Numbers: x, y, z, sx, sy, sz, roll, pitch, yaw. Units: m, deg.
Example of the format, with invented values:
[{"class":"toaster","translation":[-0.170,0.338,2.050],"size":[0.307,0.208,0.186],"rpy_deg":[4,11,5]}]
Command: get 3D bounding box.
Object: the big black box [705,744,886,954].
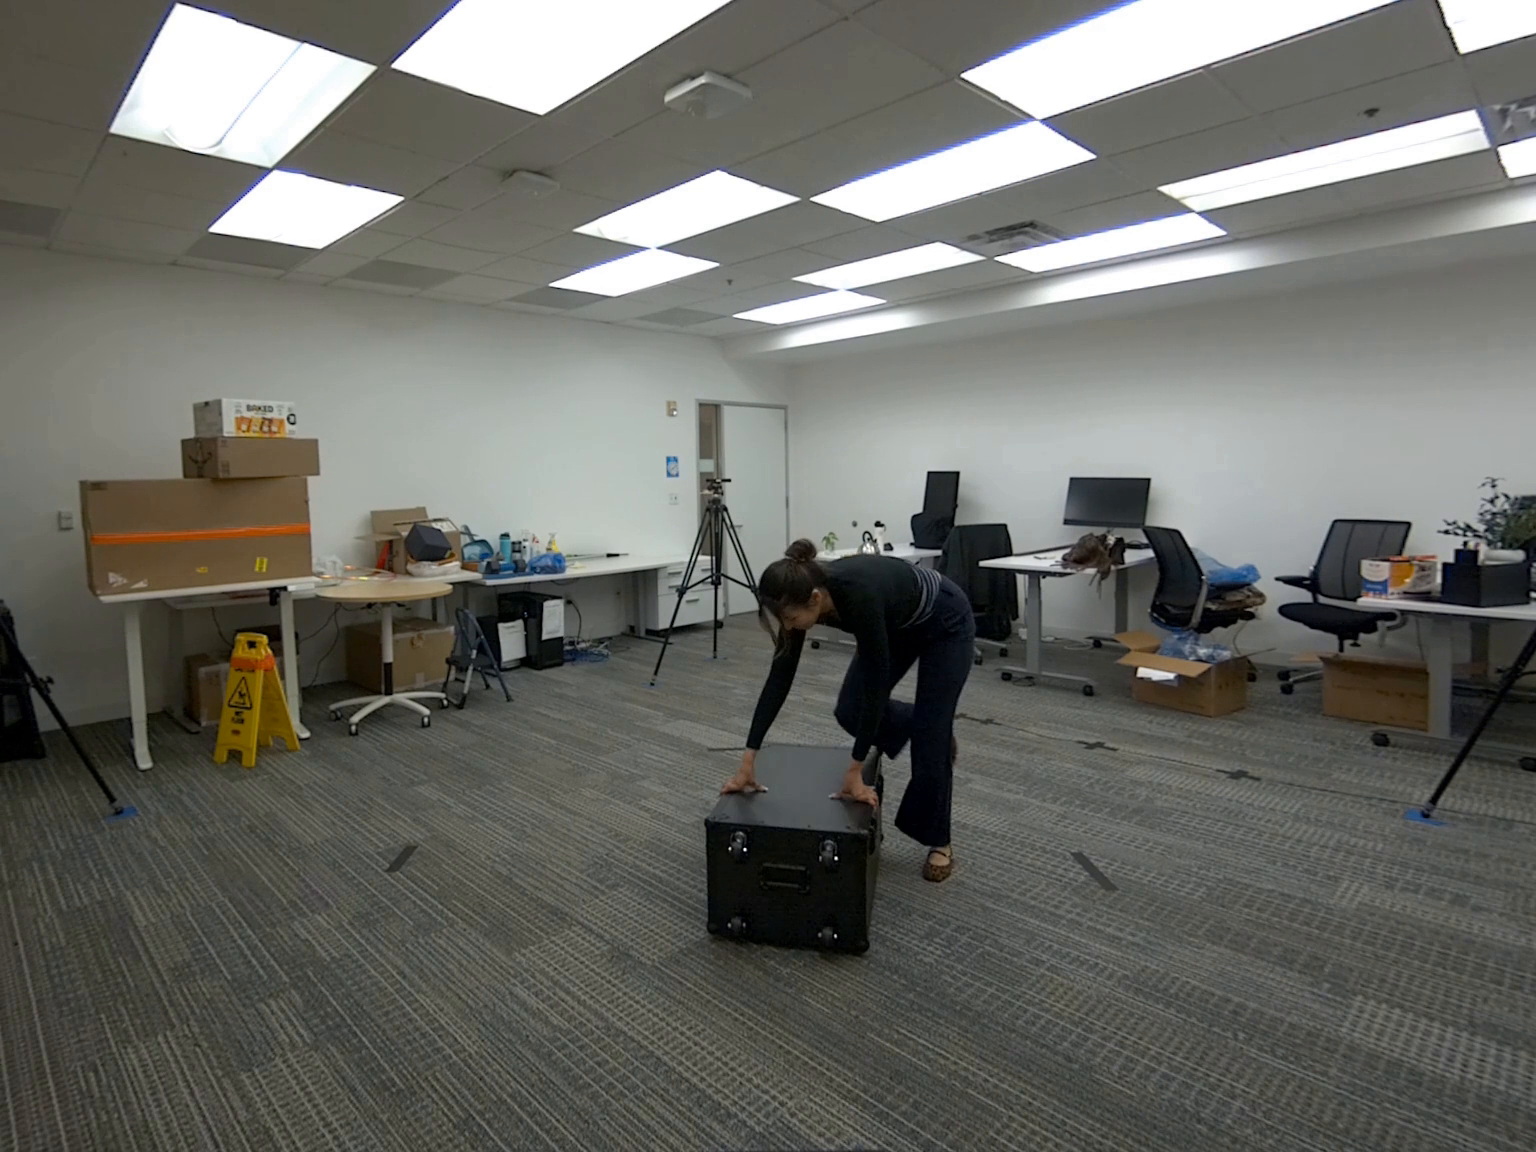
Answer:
[{"class":"big black box","translation":[0.111,0.879,2.862],"size":[0.528,0.395,0.854],"rpy_deg":[1,6,12]}]
